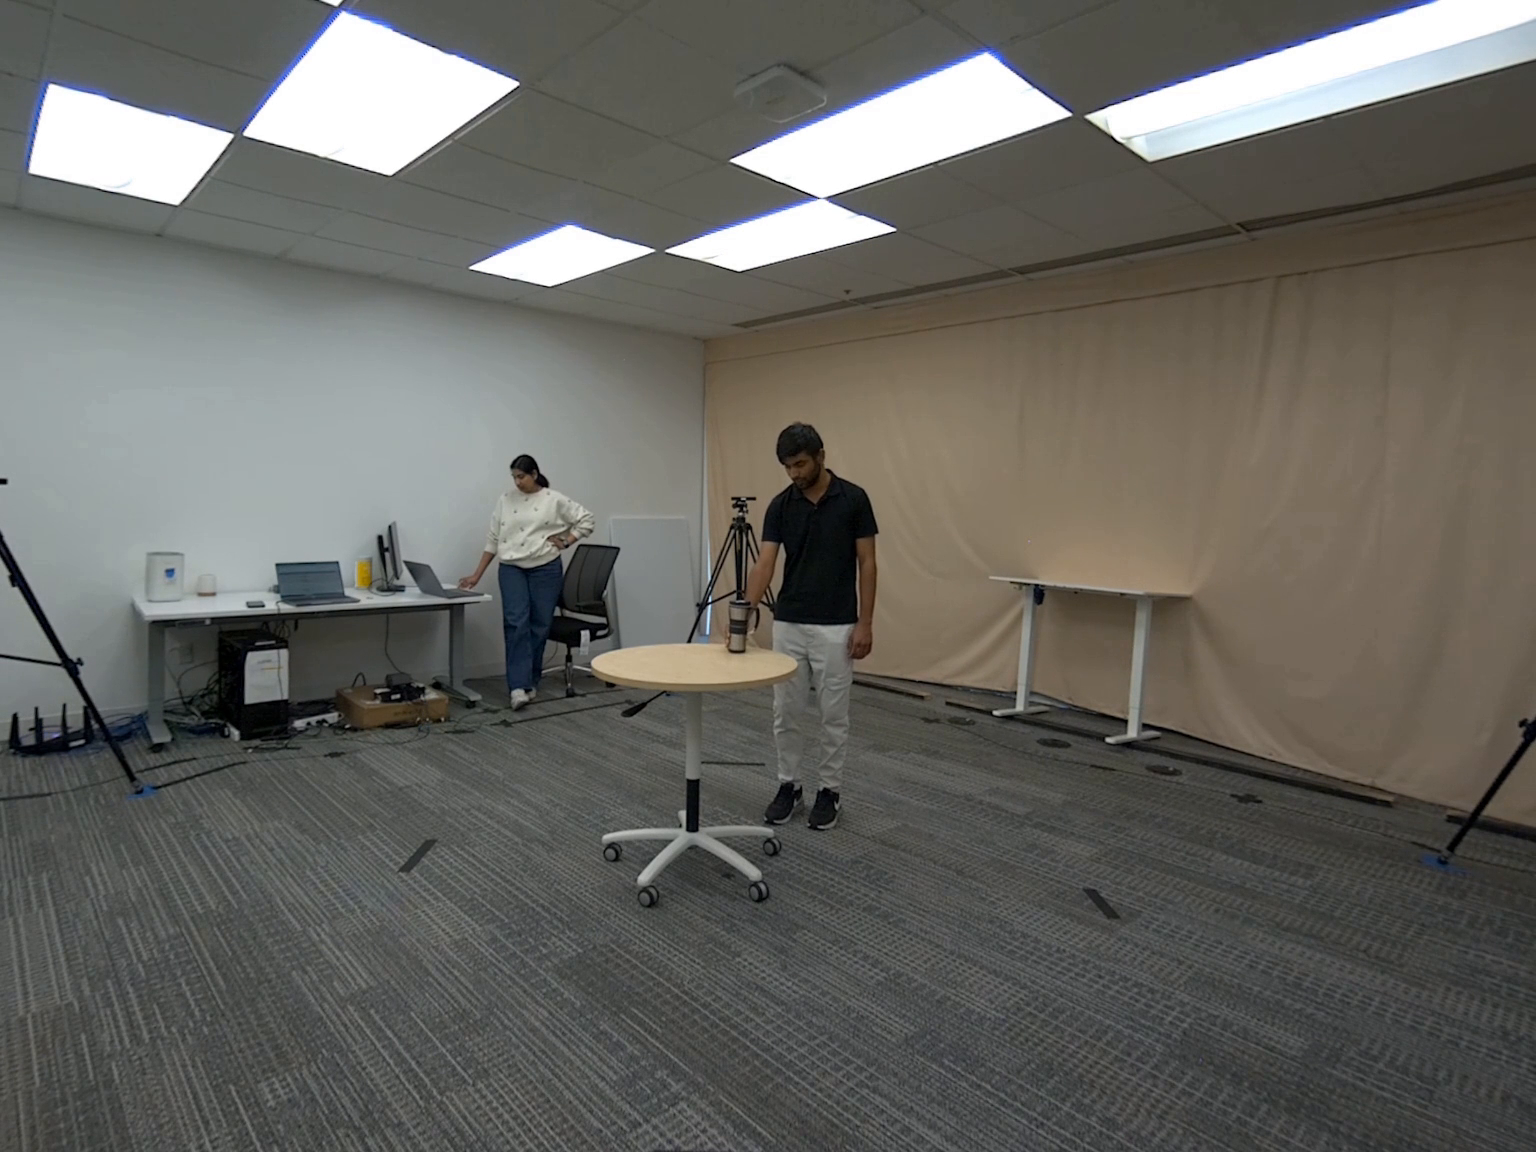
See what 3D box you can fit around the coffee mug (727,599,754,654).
[{"bbox_3d":[-0.104,0.203,3.310,0.125,0.203,0.086,5,2,32],"label":"coffee mug"}]
